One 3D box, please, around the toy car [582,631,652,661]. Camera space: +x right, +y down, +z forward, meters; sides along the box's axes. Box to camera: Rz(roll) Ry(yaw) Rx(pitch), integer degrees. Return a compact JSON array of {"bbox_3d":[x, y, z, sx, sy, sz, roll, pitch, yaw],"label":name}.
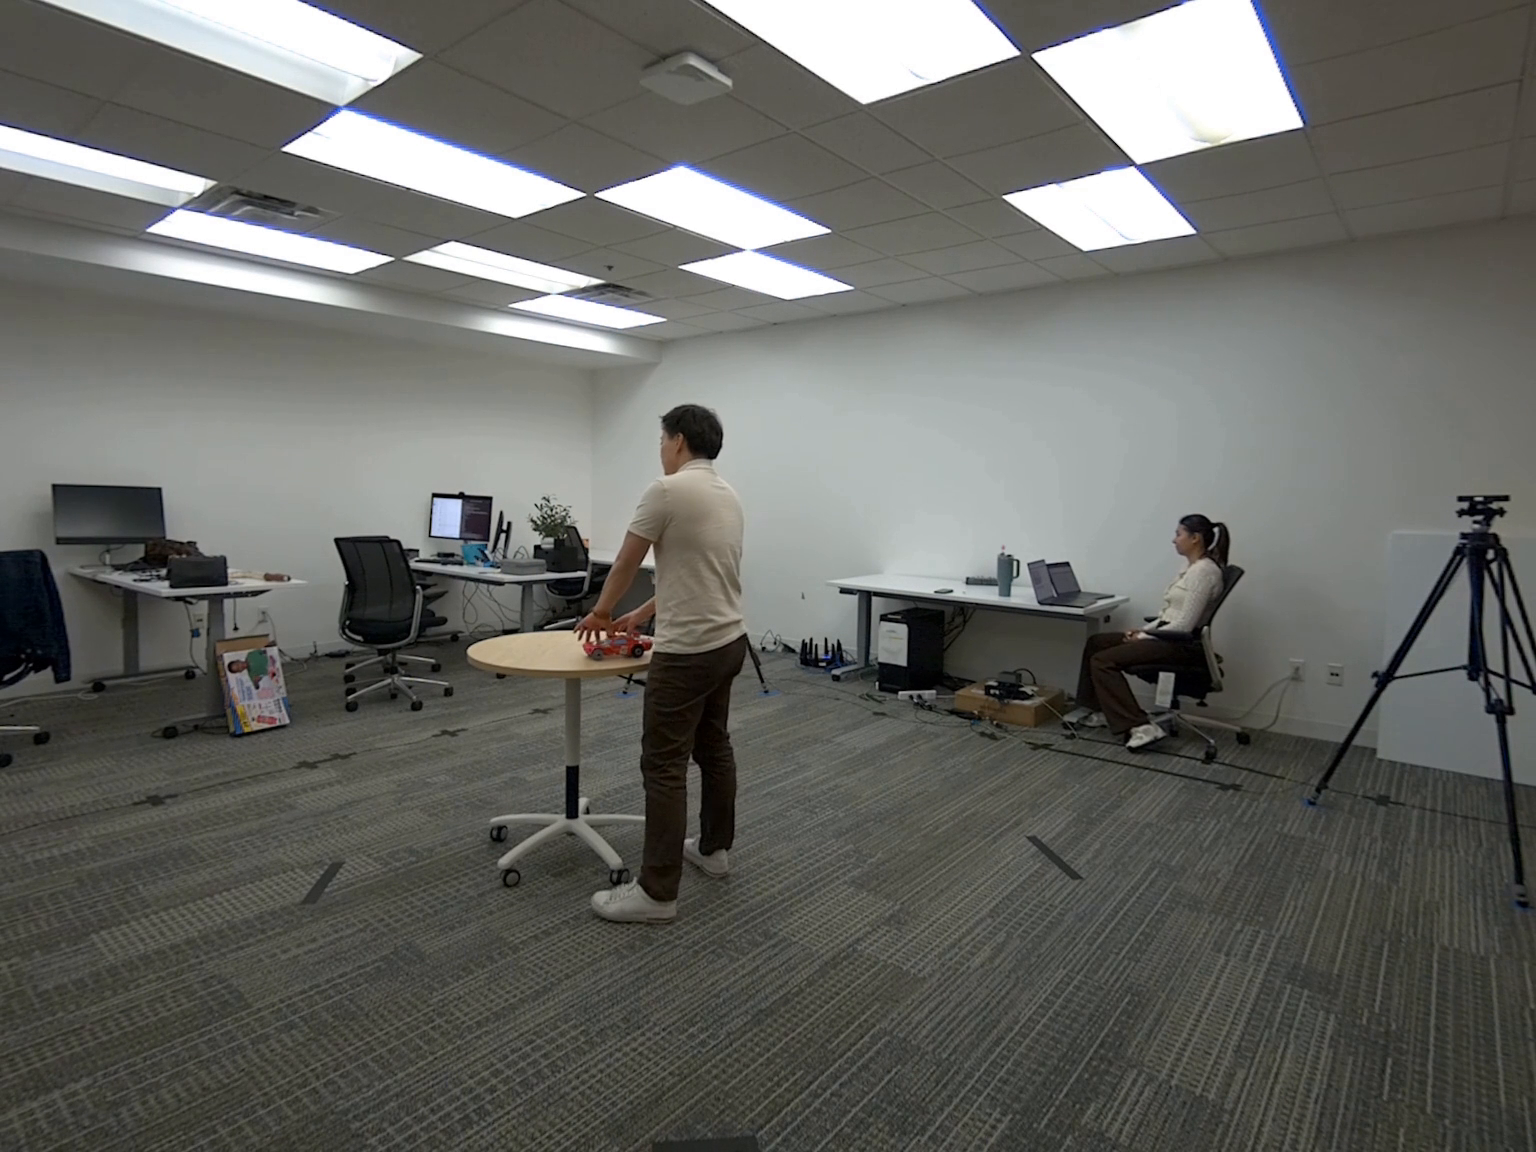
[{"bbox_3d":[-0.539,0.253,3.055,0.250,0.082,0.134,-15,12,-21],"label":"toy car"}]
